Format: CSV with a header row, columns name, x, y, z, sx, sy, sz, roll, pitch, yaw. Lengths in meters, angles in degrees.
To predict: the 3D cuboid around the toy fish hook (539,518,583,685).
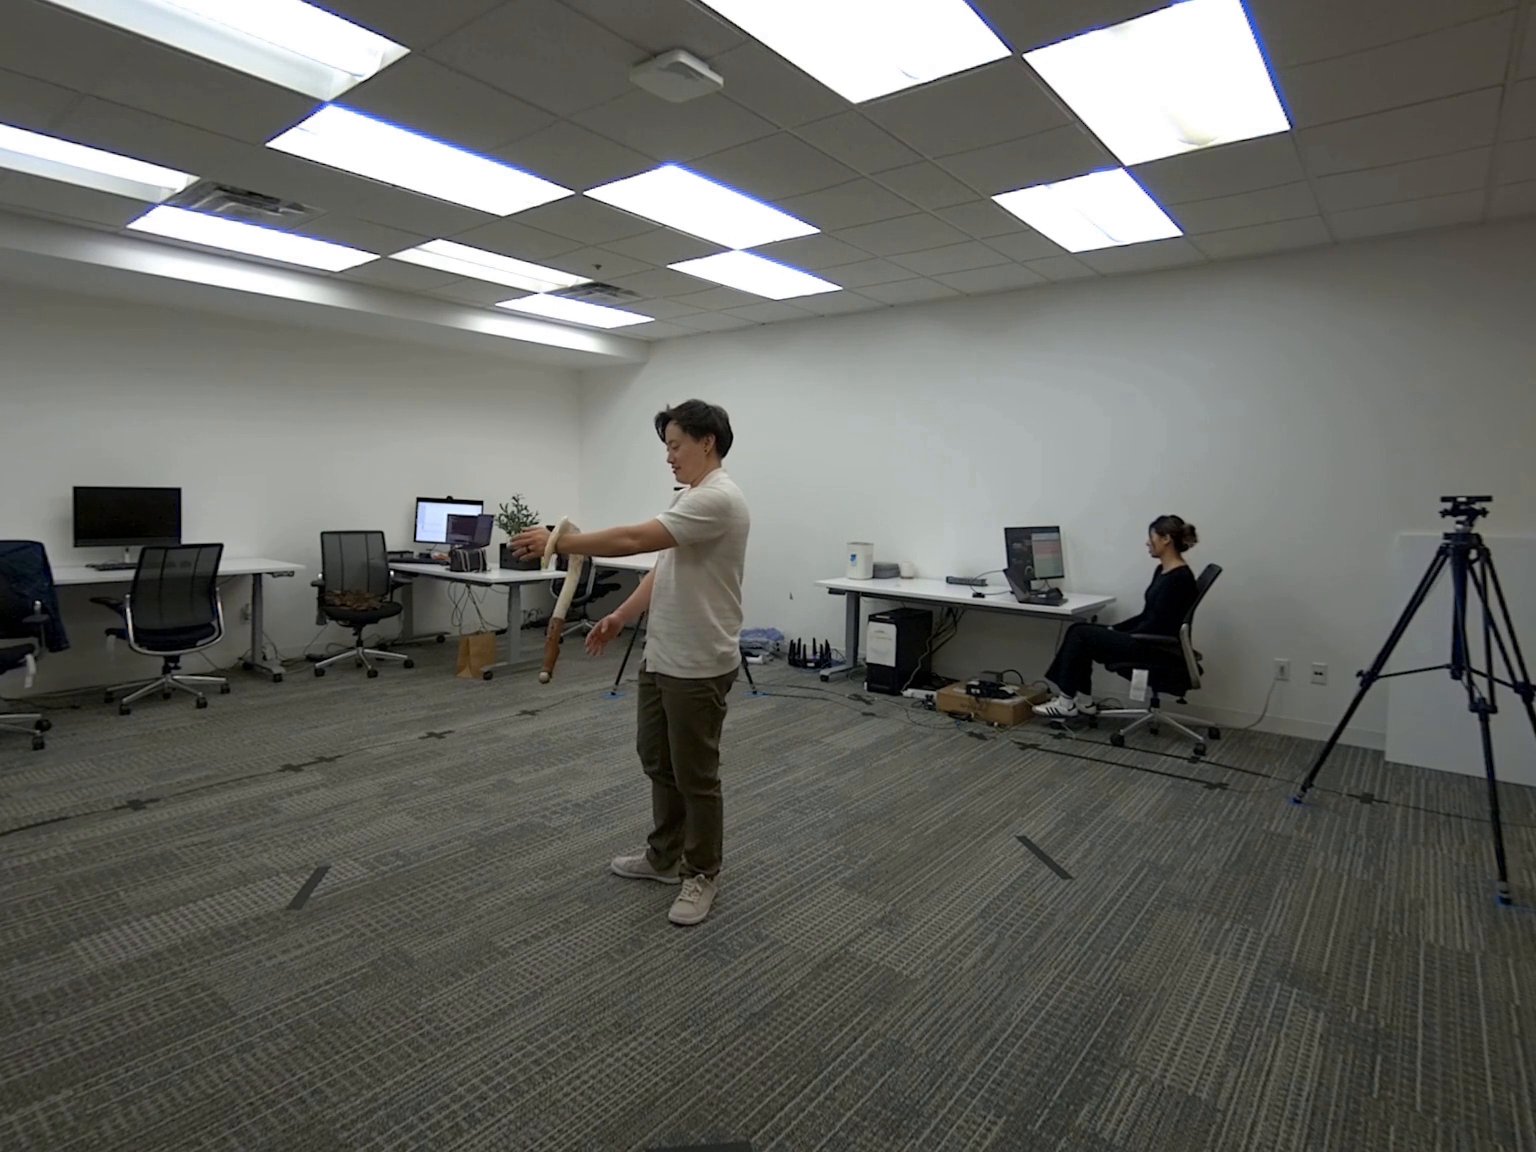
name,x,y,z,sx,sy,sz,roll,pitch,yaw
toy fish hook,-0.660,0.065,2.584,0.049,0.516,0.216,-5,-24,19
